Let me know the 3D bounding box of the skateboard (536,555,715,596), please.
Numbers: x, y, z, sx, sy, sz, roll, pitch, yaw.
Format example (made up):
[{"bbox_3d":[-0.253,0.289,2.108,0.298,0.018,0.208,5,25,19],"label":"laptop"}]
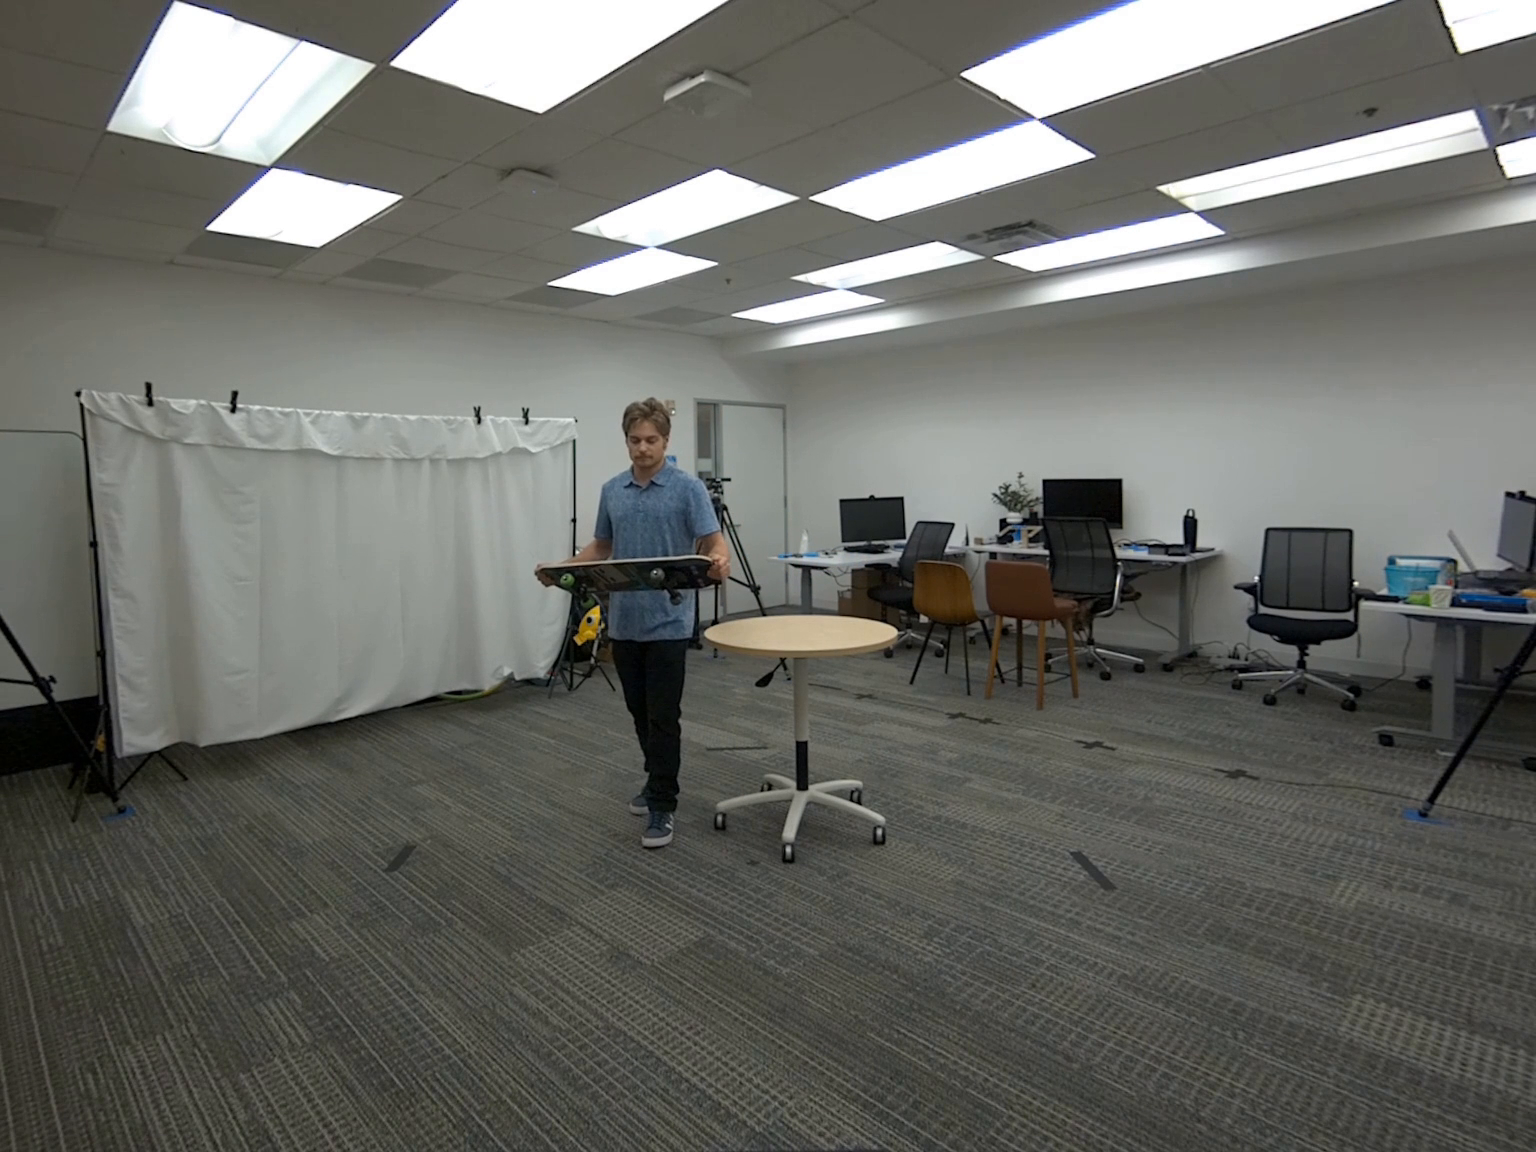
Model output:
[{"bbox_3d":[-0.543,0.032,3.214,0.802,0.112,0.186,-3,-37,24],"label":"skateboard"}]
